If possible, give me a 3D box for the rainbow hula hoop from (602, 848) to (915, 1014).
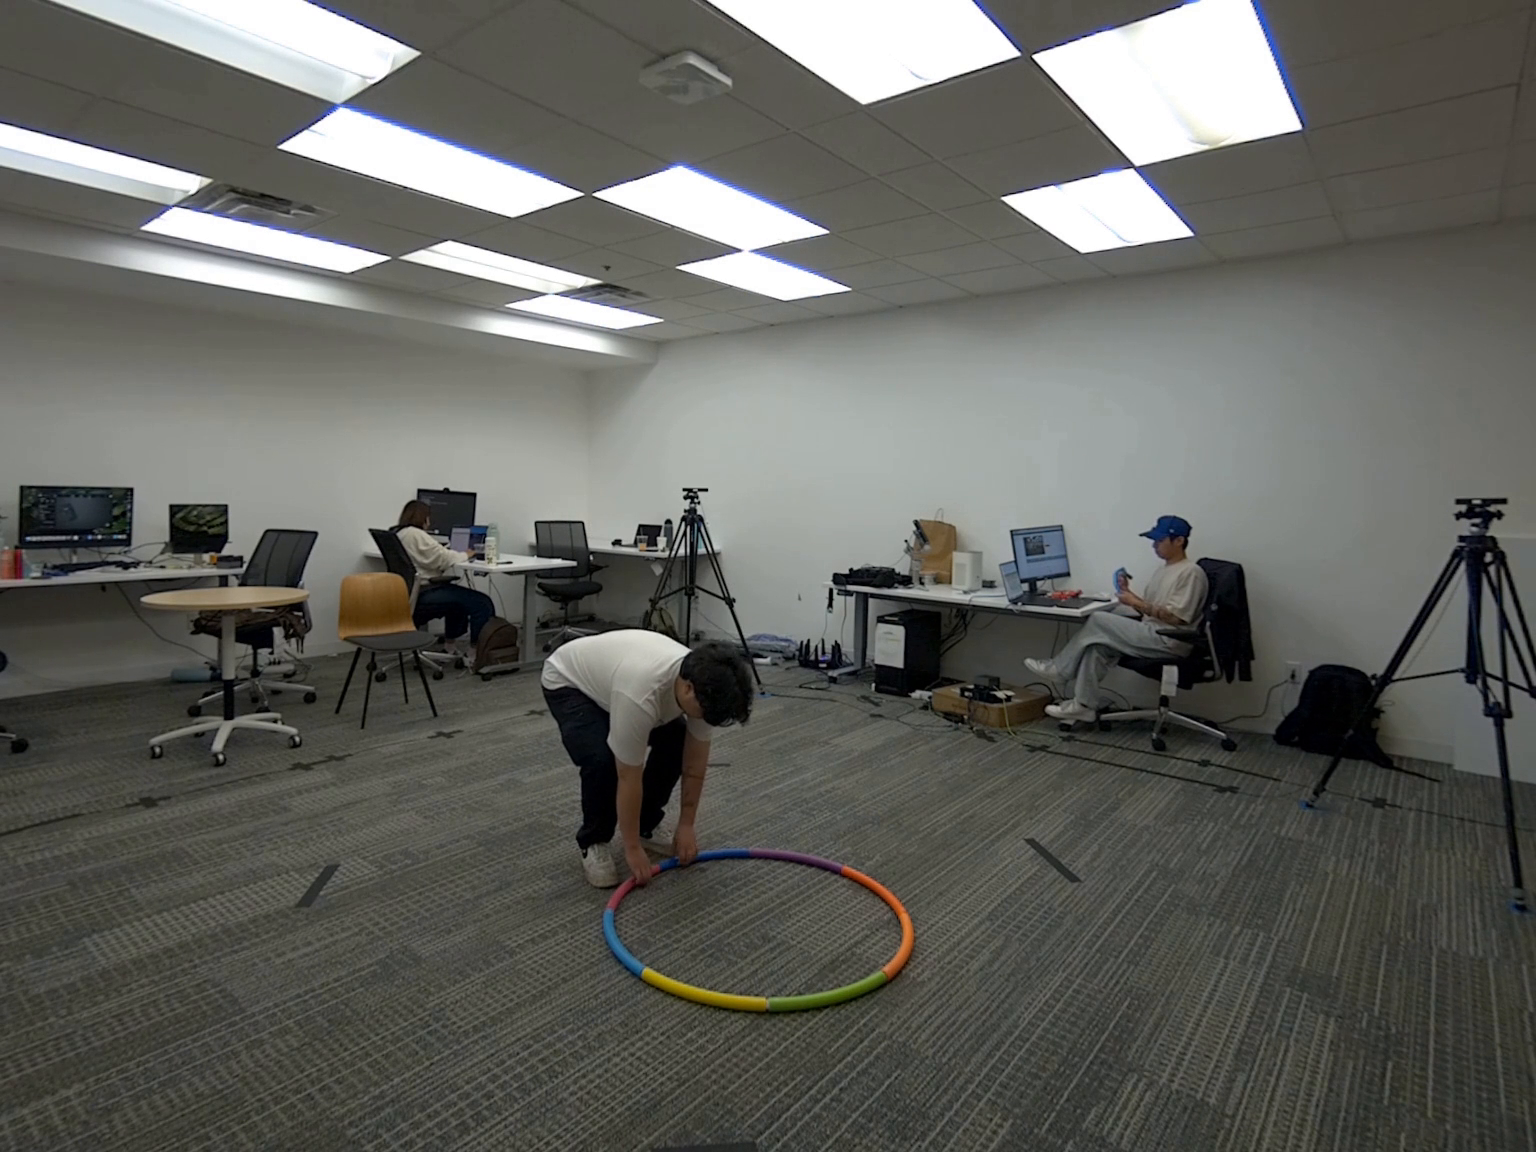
[{"bbox_3d":[-0.041,1.082,2.741,0.984,0.051,0.990,0,6,-2],"label":"rainbow hula hoop"}]
